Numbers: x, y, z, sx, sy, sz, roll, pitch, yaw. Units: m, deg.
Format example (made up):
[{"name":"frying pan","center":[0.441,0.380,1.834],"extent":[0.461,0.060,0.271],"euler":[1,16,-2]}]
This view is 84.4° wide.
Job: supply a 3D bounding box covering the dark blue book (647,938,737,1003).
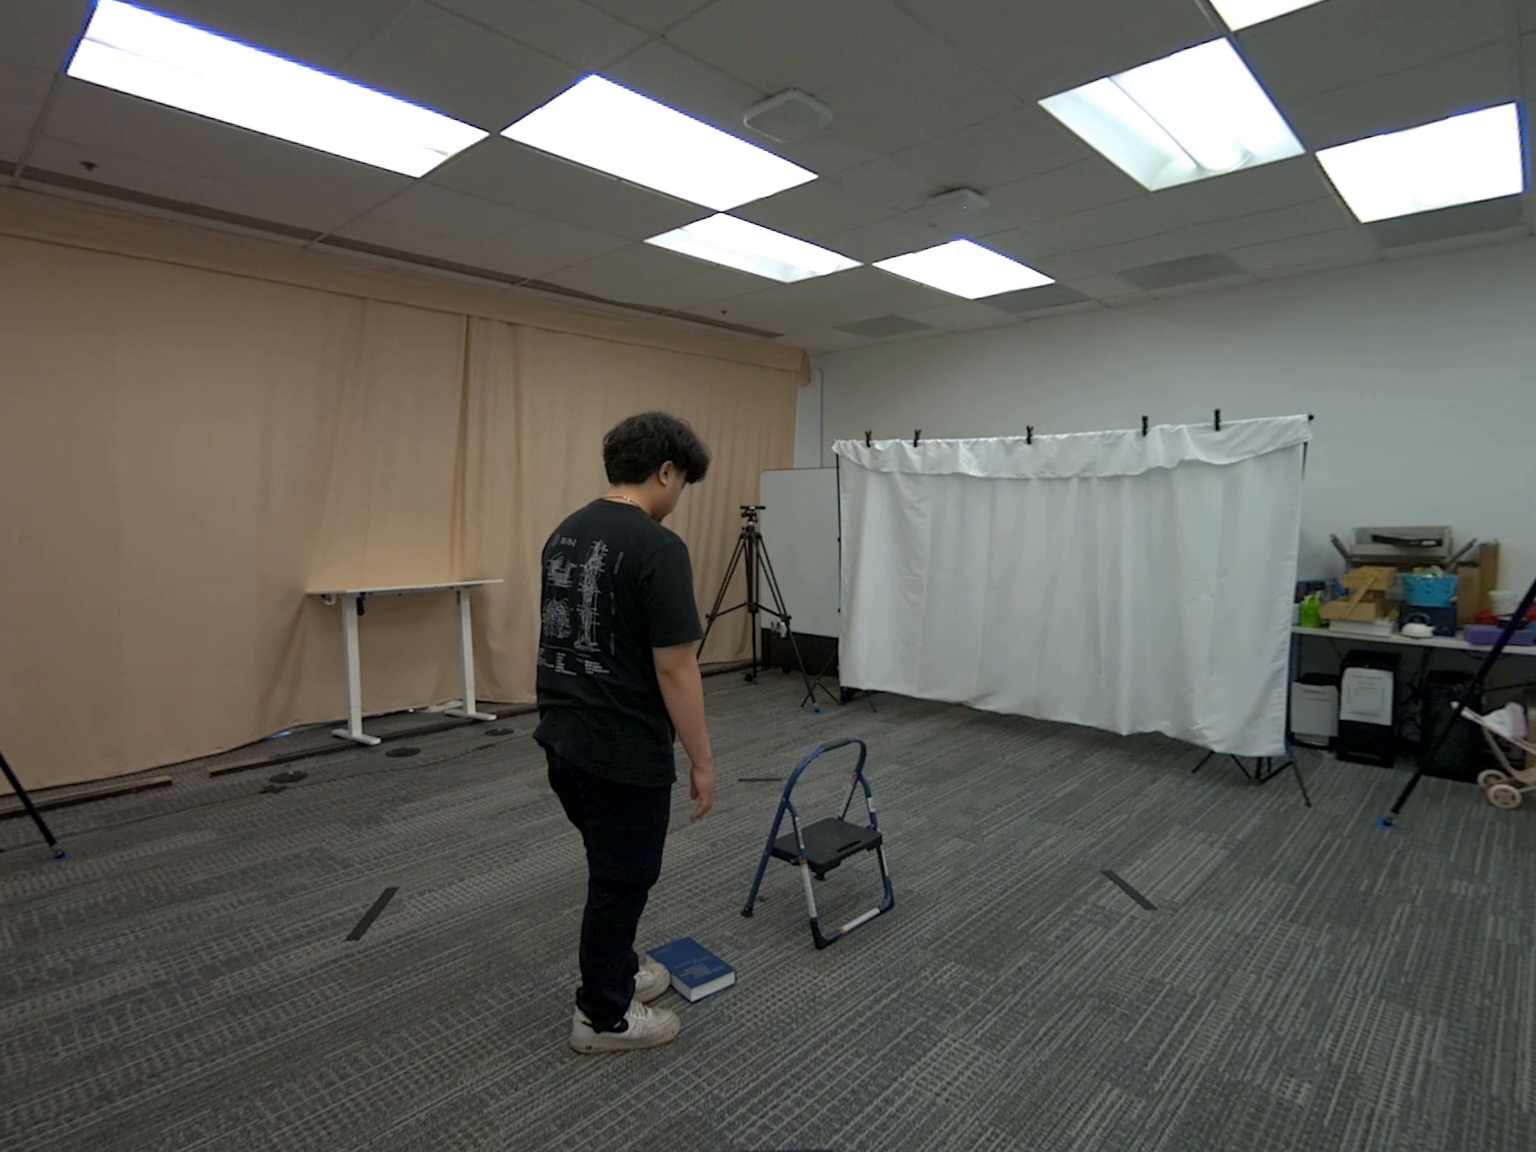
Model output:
[{"name":"dark blue book","center":[-0.227,1.166,2.492],"extent":[0.158,0.045,0.253],"euler":[-3,5,-39]}]
